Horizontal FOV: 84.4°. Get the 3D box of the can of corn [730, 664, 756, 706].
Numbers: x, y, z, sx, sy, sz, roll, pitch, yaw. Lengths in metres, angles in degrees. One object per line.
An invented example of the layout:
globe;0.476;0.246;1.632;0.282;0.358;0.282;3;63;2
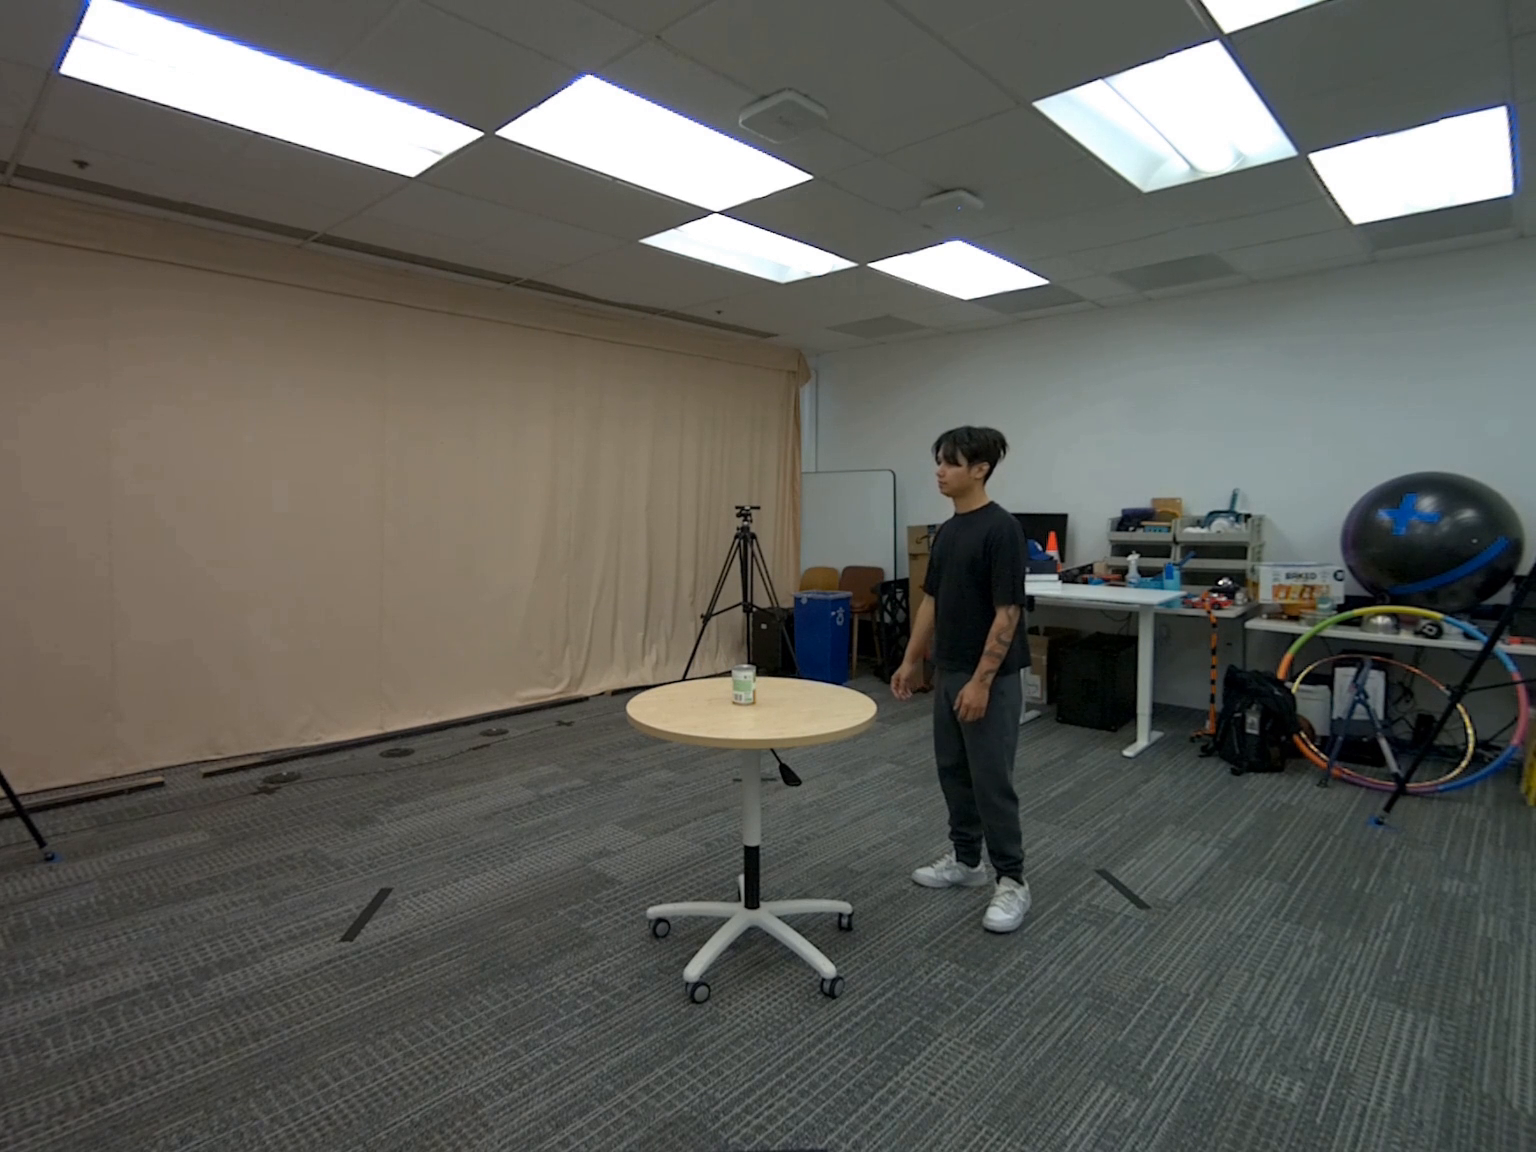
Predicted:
can of corn;-0.067;0.342;2.602;0.074;0.111;0.074;-1;5;-2
